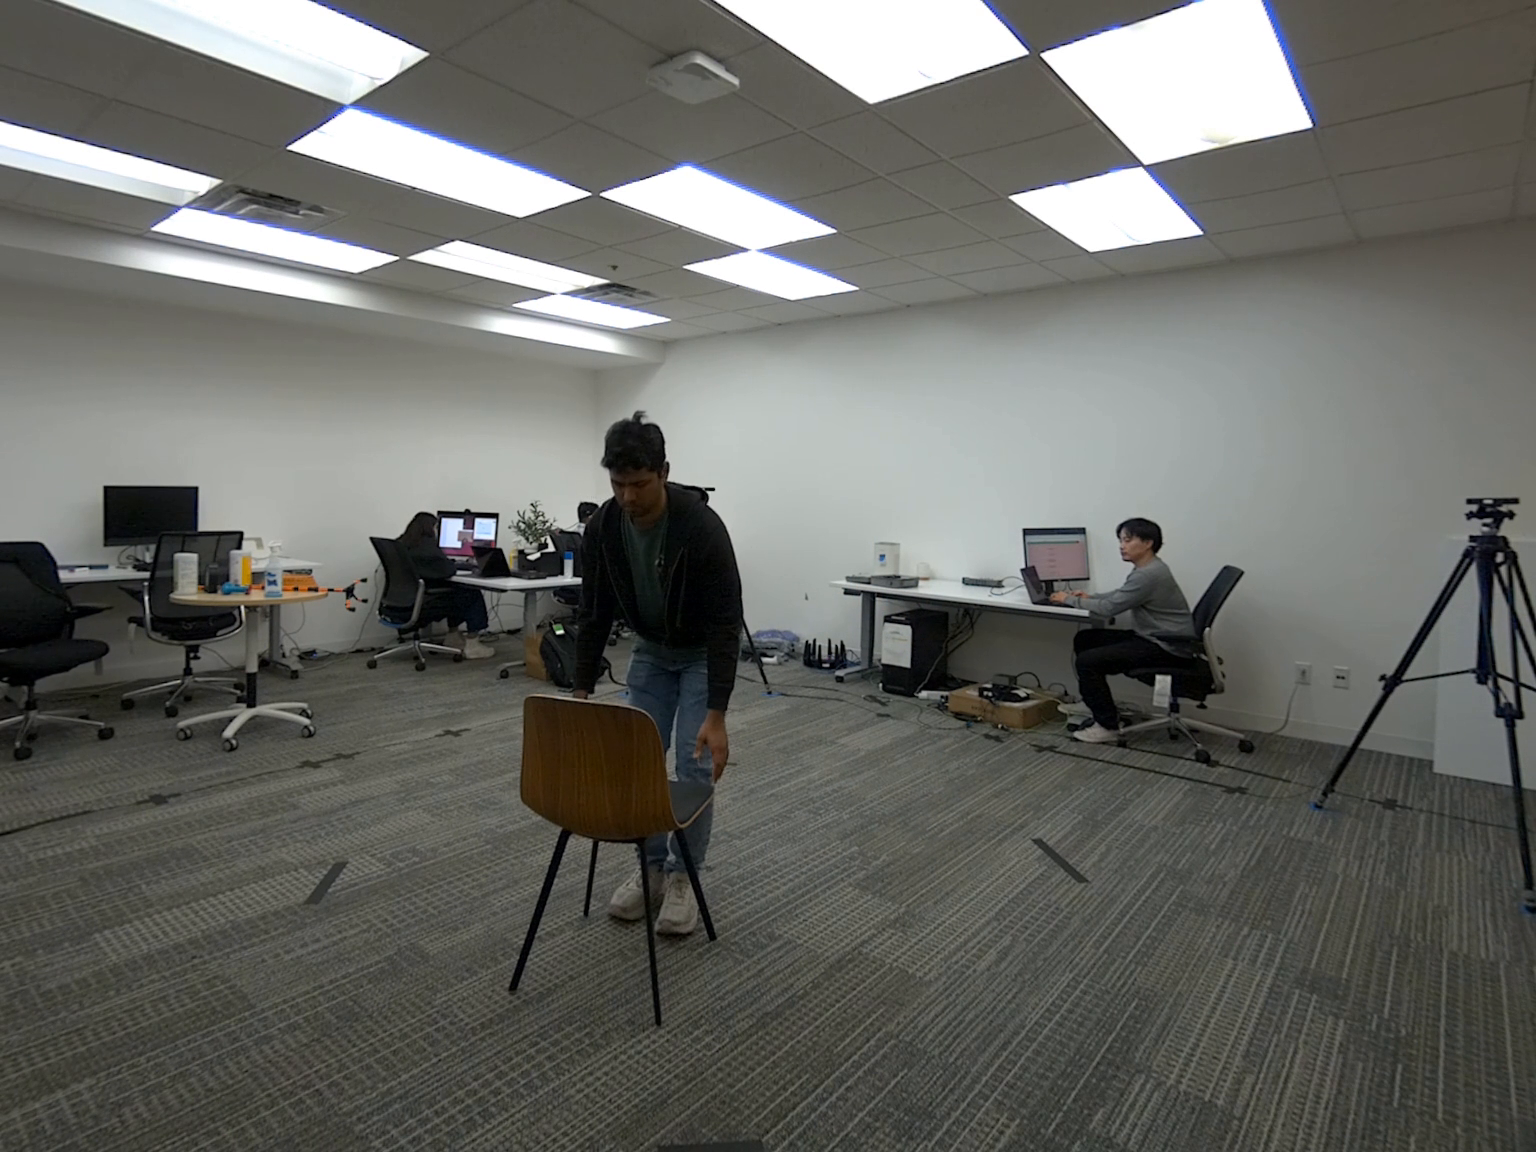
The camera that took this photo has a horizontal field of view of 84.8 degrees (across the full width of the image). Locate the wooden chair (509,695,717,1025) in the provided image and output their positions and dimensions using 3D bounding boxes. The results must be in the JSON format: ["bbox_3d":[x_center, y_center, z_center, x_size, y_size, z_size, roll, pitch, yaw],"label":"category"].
[{"bbox_3d":[-0.428,0.700,2.447,0.487,0.871,0.517,2,8,17],"label":"wooden chair"}]
